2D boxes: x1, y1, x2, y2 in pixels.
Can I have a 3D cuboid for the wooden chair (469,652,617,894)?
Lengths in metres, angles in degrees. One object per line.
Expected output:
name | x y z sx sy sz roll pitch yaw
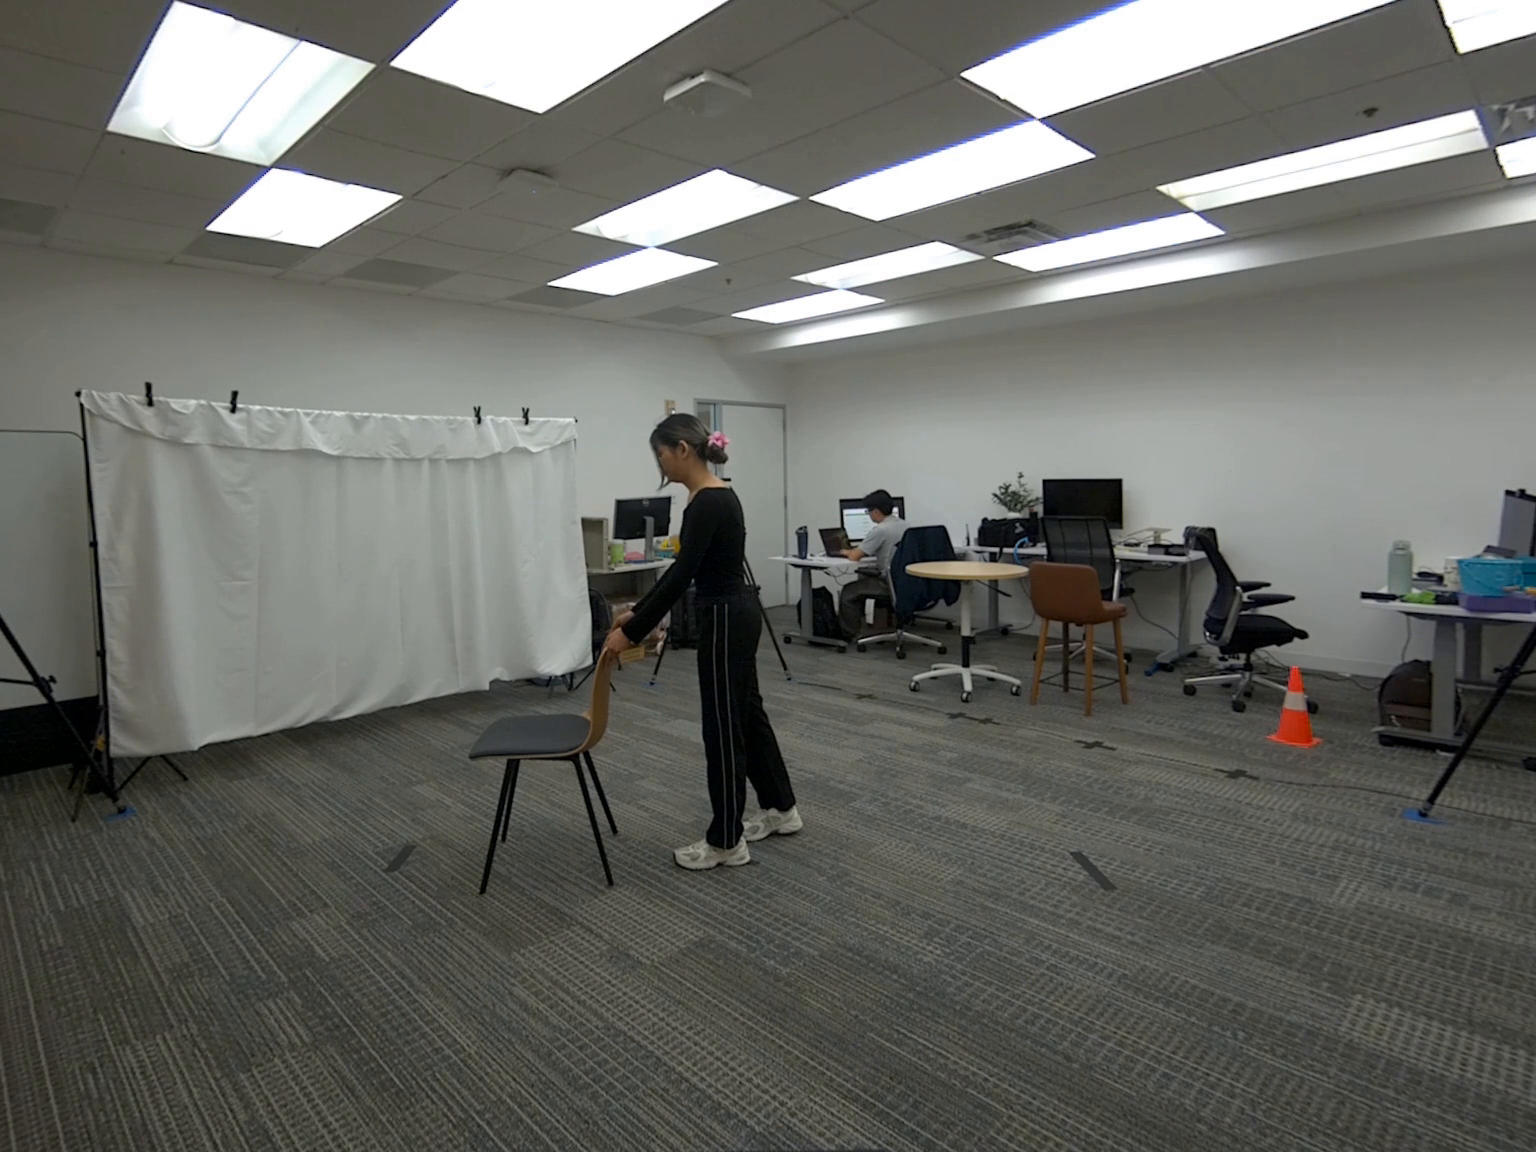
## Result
wooden chair | -0.801 0.625 3.109 0.520 0.874 0.483 3 4 -7
